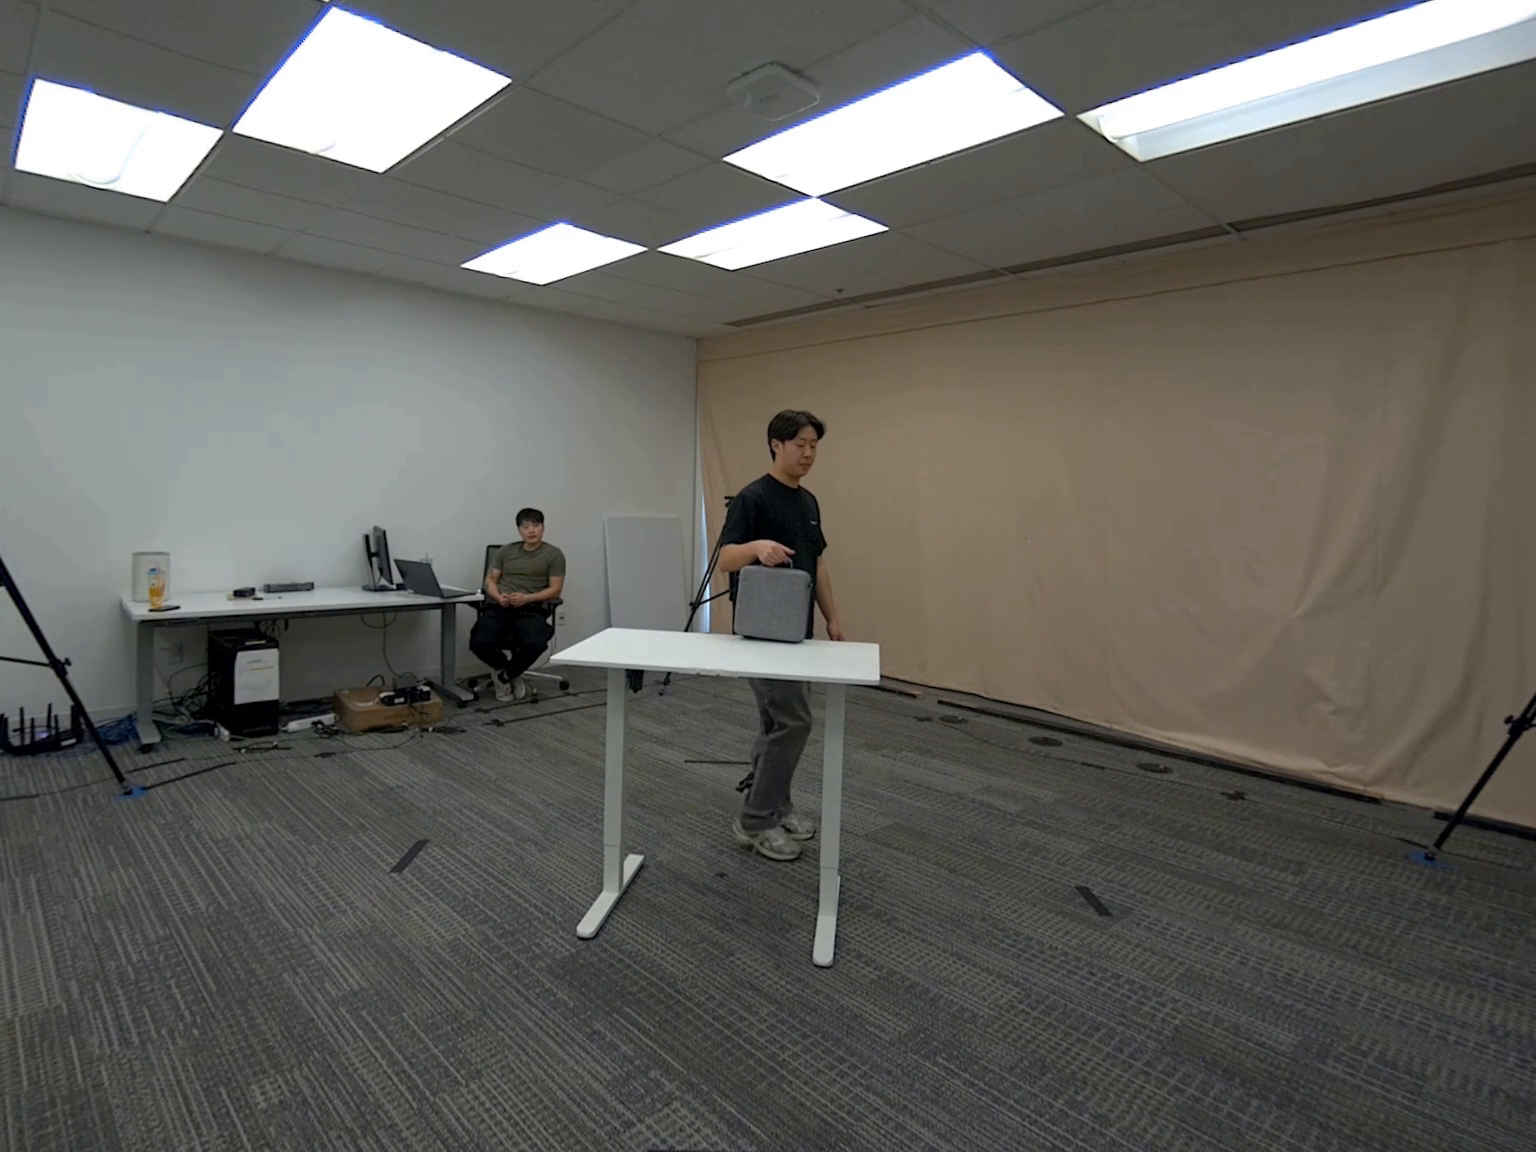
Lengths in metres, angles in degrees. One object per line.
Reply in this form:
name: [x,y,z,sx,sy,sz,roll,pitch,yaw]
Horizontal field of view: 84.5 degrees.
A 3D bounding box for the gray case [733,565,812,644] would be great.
gray case: [0.006,0.085,3.009,0.266,0.287,0.102,6,1,15]
